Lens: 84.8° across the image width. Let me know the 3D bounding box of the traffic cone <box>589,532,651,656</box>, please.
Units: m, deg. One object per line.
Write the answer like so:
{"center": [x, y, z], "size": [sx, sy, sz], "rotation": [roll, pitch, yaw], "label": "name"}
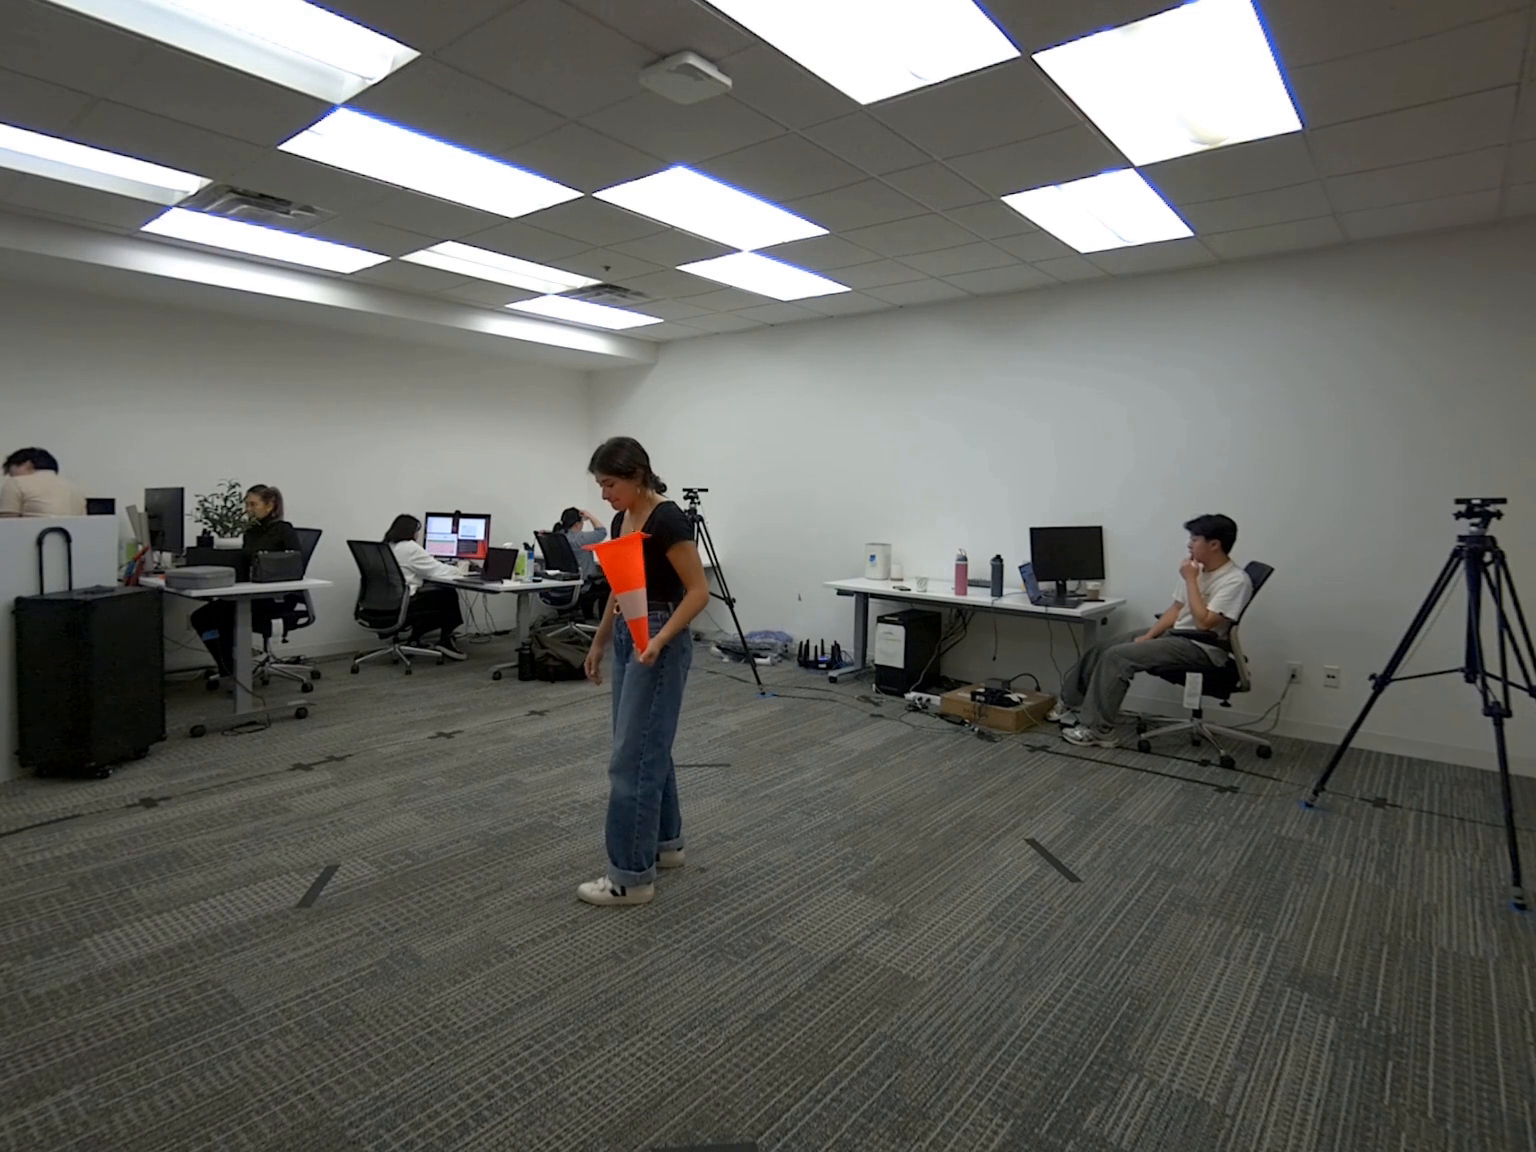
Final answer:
{"center": [-0.461, 0.066, 2.738], "size": [0.206, 0.387, 0.201], "rotation": [-12, -6, 5], "label": "traffic cone"}
